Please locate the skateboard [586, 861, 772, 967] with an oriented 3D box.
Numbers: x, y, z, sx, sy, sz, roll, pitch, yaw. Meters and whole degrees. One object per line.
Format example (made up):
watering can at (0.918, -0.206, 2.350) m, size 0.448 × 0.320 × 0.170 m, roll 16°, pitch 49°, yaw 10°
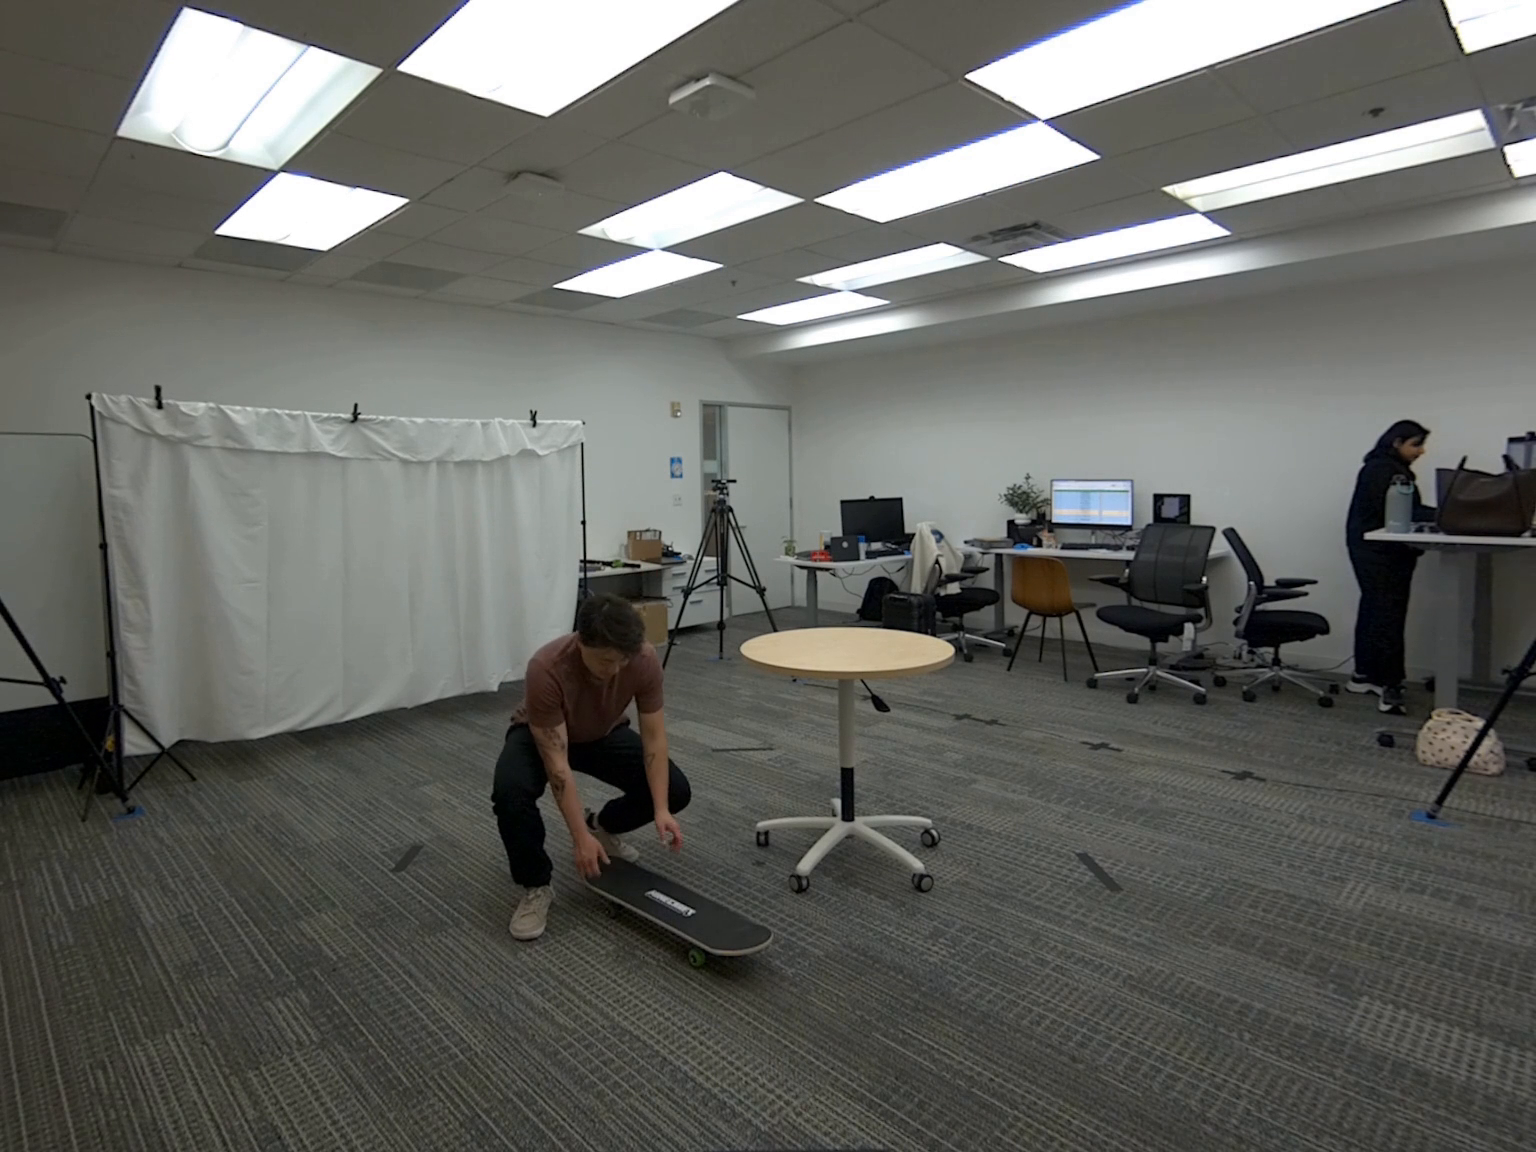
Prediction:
skateboard at (-0.298, 1.048, 2.653) m, size 0.810 × 0.110 × 0.189 m, roll 5°, pitch 10°, yaw 43°
